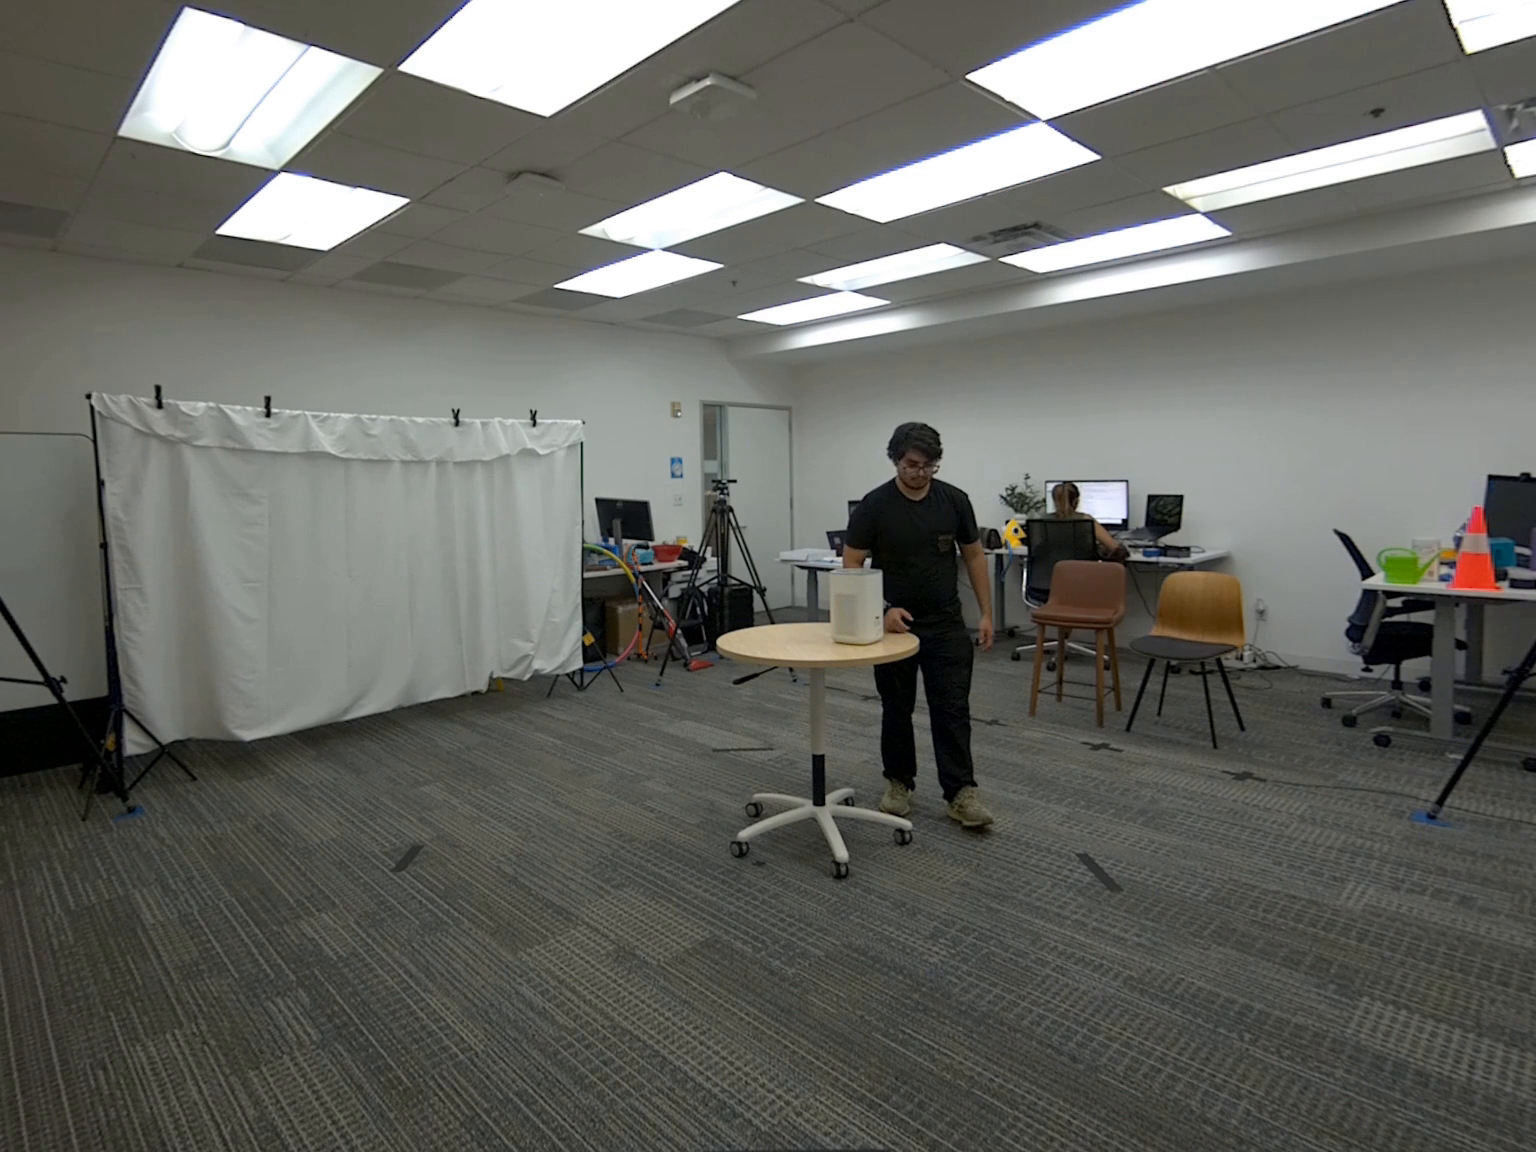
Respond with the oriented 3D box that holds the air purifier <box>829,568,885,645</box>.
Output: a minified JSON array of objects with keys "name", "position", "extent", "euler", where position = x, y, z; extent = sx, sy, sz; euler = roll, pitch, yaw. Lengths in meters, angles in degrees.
[{"name":"air purifier","position":[0.337,0.114,3.195],"extent":[0.176,0.264,0.167],"euler":[1,6,34]}]
